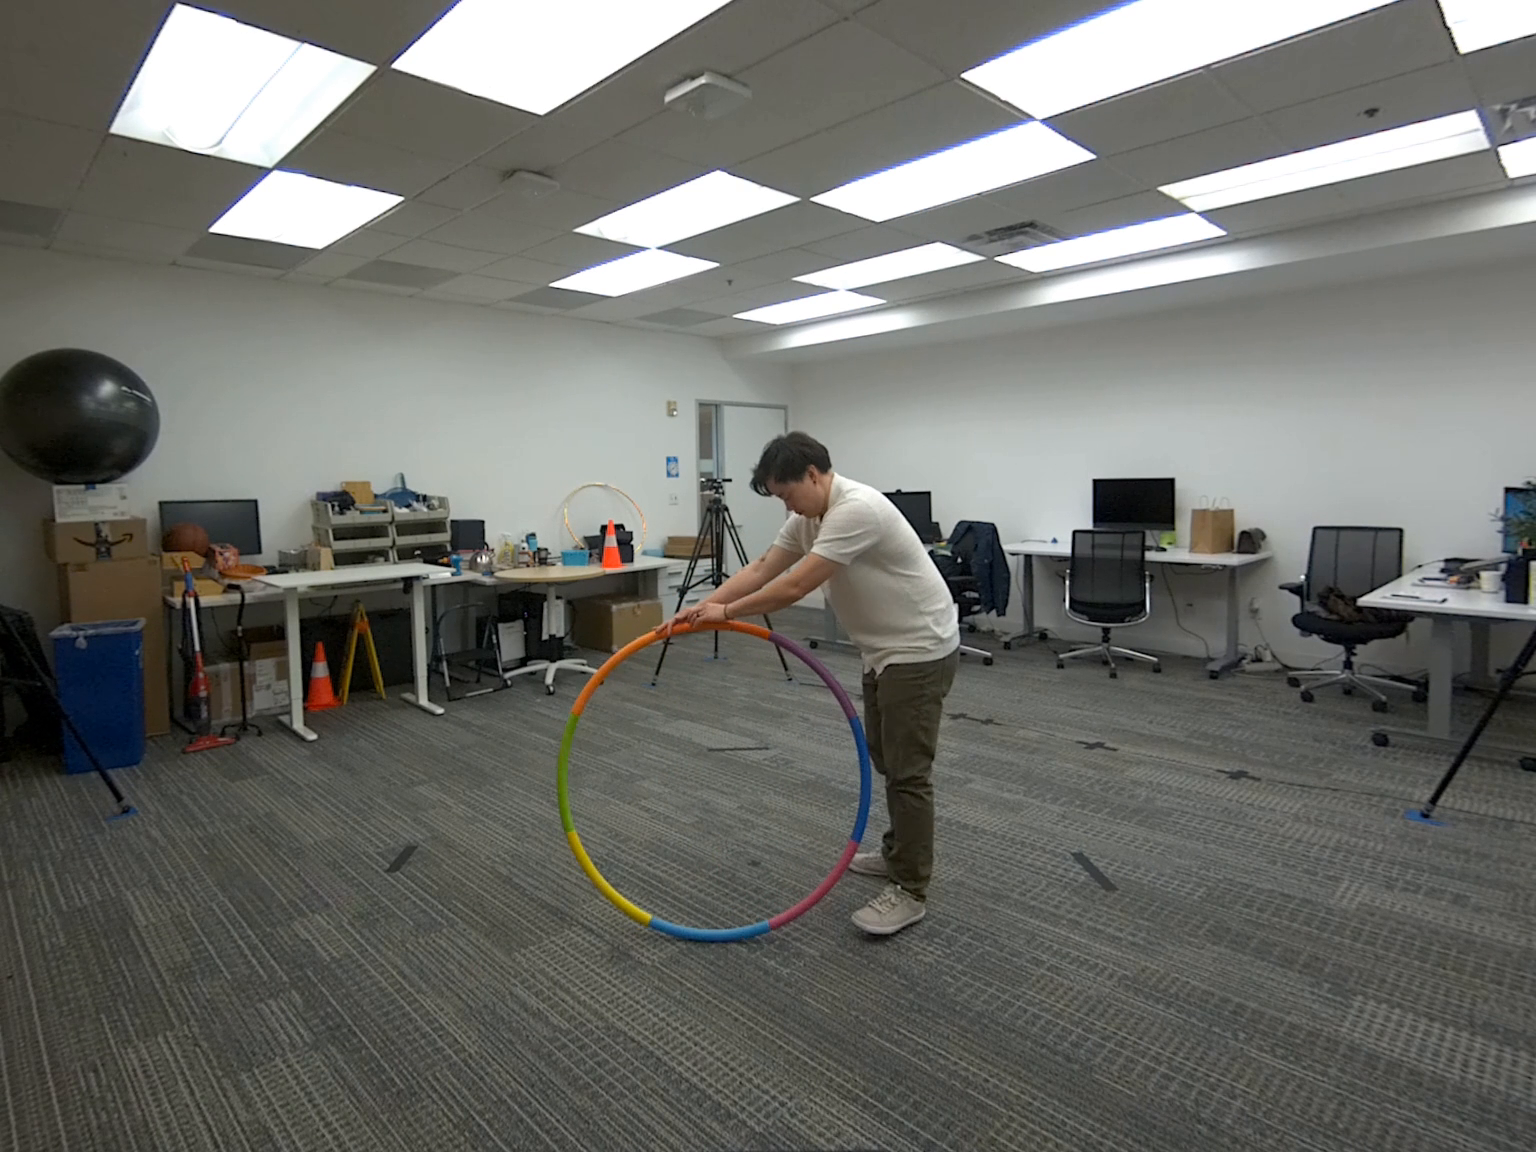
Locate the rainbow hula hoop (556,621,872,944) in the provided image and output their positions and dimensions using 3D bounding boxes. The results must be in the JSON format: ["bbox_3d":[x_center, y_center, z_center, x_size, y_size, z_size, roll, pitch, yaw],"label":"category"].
[{"bbox_3d":[-0.182,0.627,2.686,0.984,0.990,0.035,-1,-13,6],"label":"rainbow hula hoop"}]
